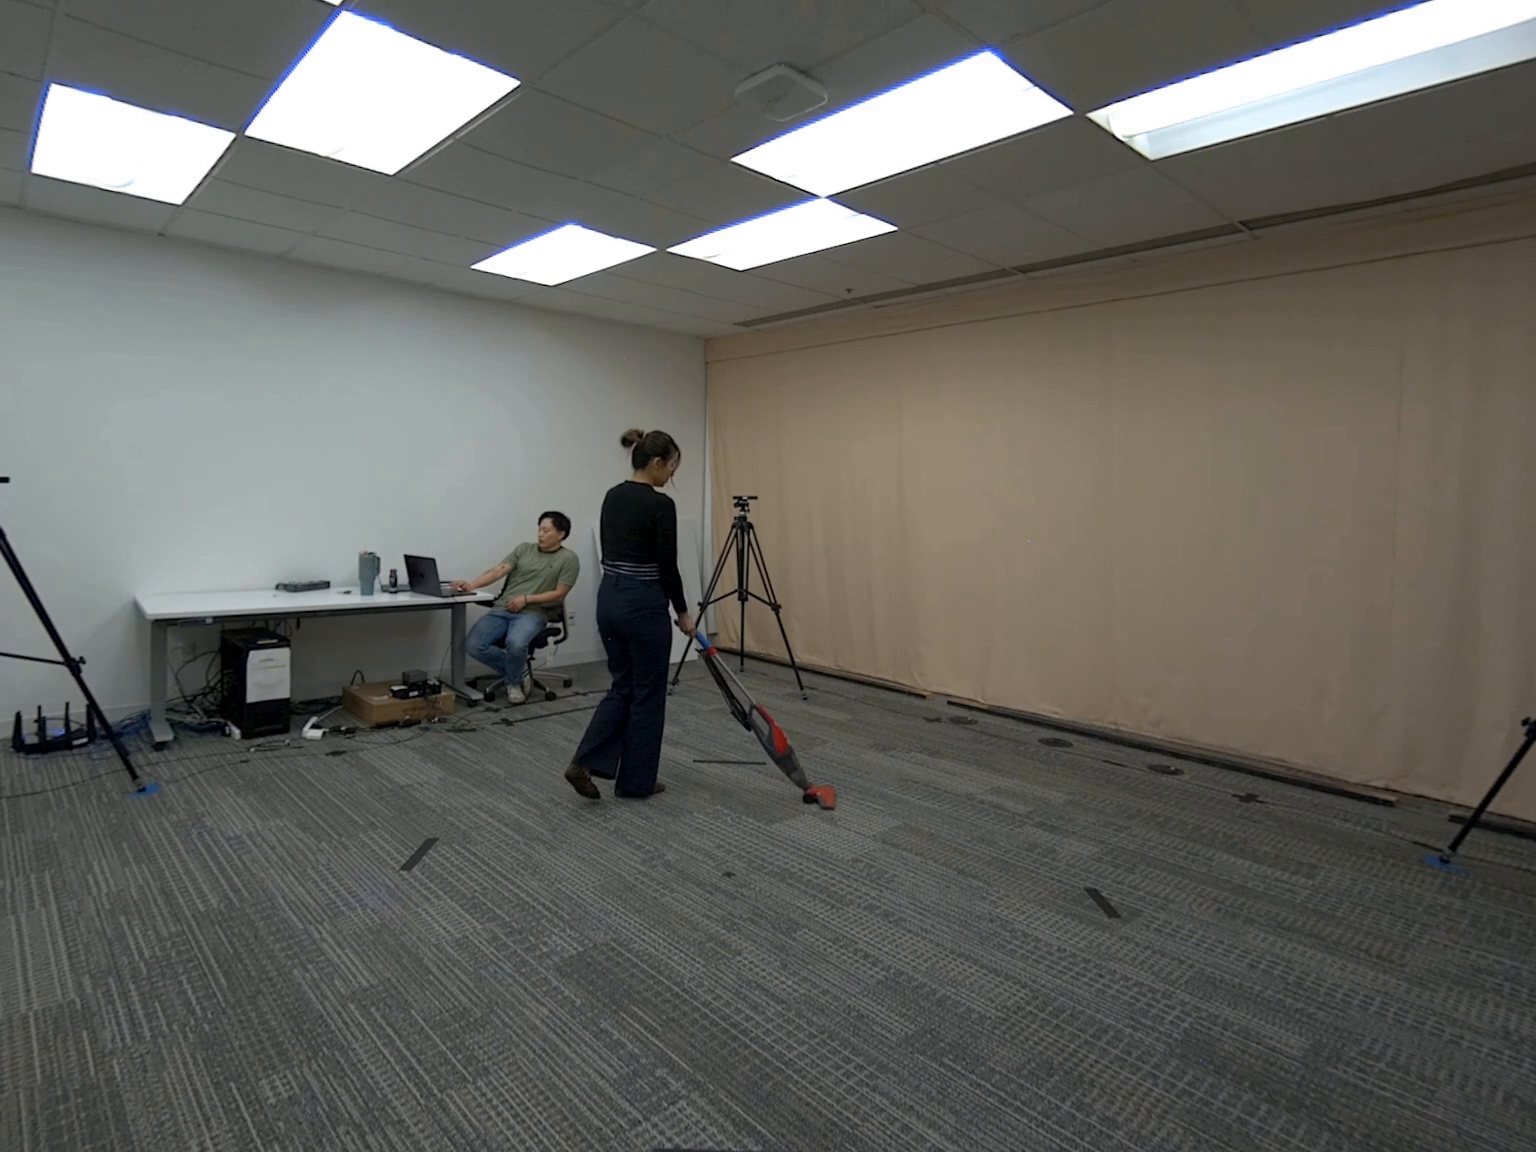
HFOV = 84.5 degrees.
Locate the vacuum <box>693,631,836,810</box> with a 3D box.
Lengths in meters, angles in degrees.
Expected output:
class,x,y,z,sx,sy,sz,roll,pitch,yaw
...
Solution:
class,x,y,z,sx,sy,sz,roll,pitch,yaw
vacuum,-0.098,0.623,3.924,0.144,1.049,0.252,-39,0,9
